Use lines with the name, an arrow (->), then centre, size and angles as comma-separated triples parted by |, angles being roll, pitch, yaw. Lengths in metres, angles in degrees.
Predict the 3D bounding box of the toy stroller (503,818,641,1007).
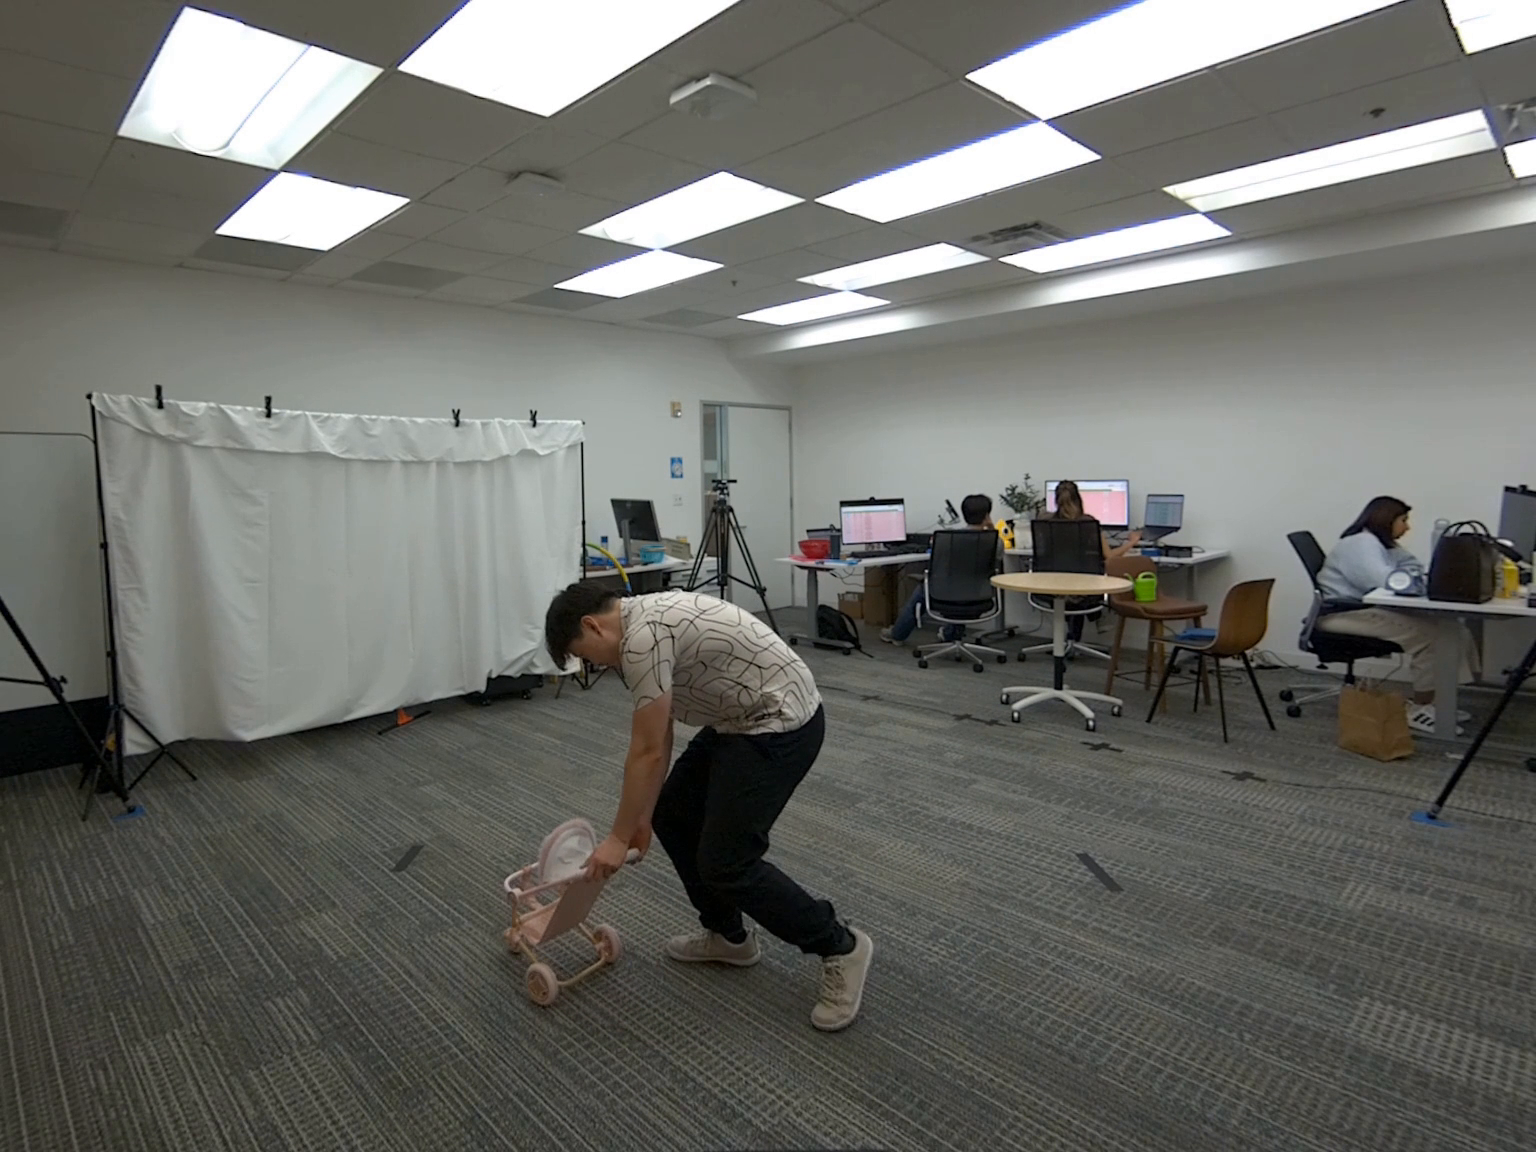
toy stroller -> -0.580, 0.919, 2.424 | 0.354, 0.530, 0.274 | 26, 18, 36
